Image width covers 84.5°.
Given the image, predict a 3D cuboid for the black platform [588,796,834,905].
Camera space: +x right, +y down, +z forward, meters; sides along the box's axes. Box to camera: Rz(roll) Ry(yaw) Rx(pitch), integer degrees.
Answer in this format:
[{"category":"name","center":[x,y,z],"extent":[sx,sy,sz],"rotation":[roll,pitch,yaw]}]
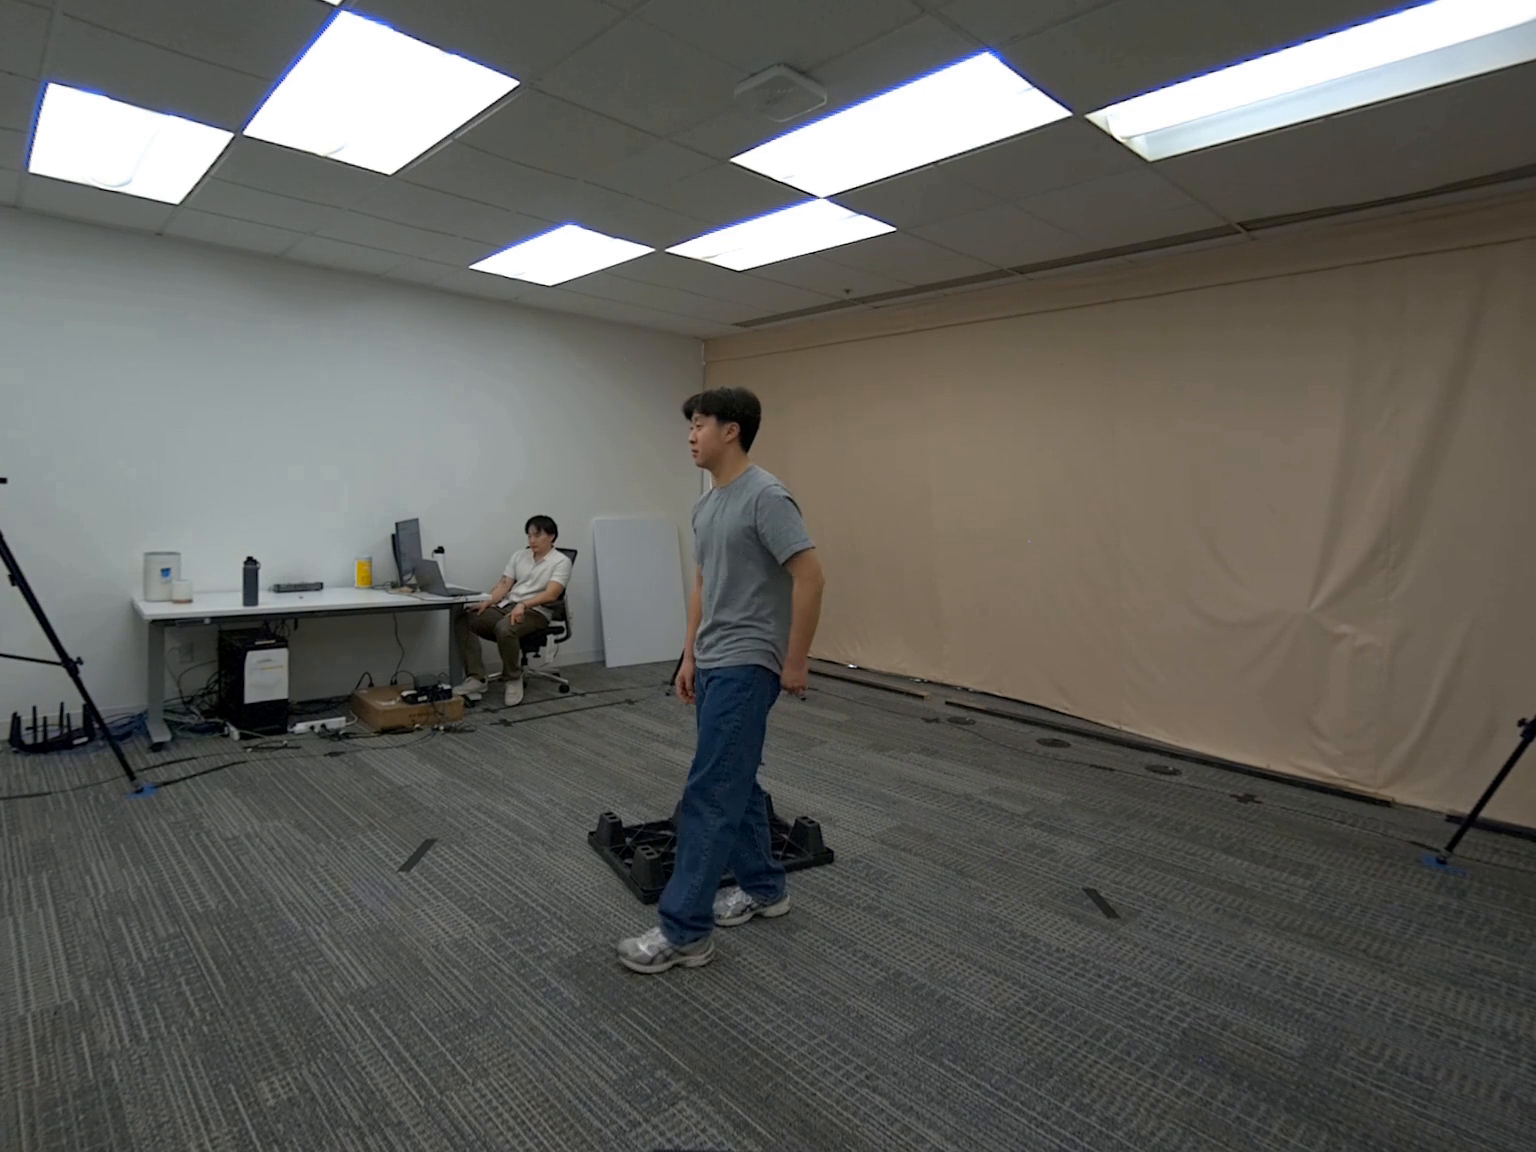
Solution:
[{"category":"black platform","center":[-0.240,1.020,3.301],"extent":[0.789,0.143,0.619],"rotation":[-2,6,-30]}]
